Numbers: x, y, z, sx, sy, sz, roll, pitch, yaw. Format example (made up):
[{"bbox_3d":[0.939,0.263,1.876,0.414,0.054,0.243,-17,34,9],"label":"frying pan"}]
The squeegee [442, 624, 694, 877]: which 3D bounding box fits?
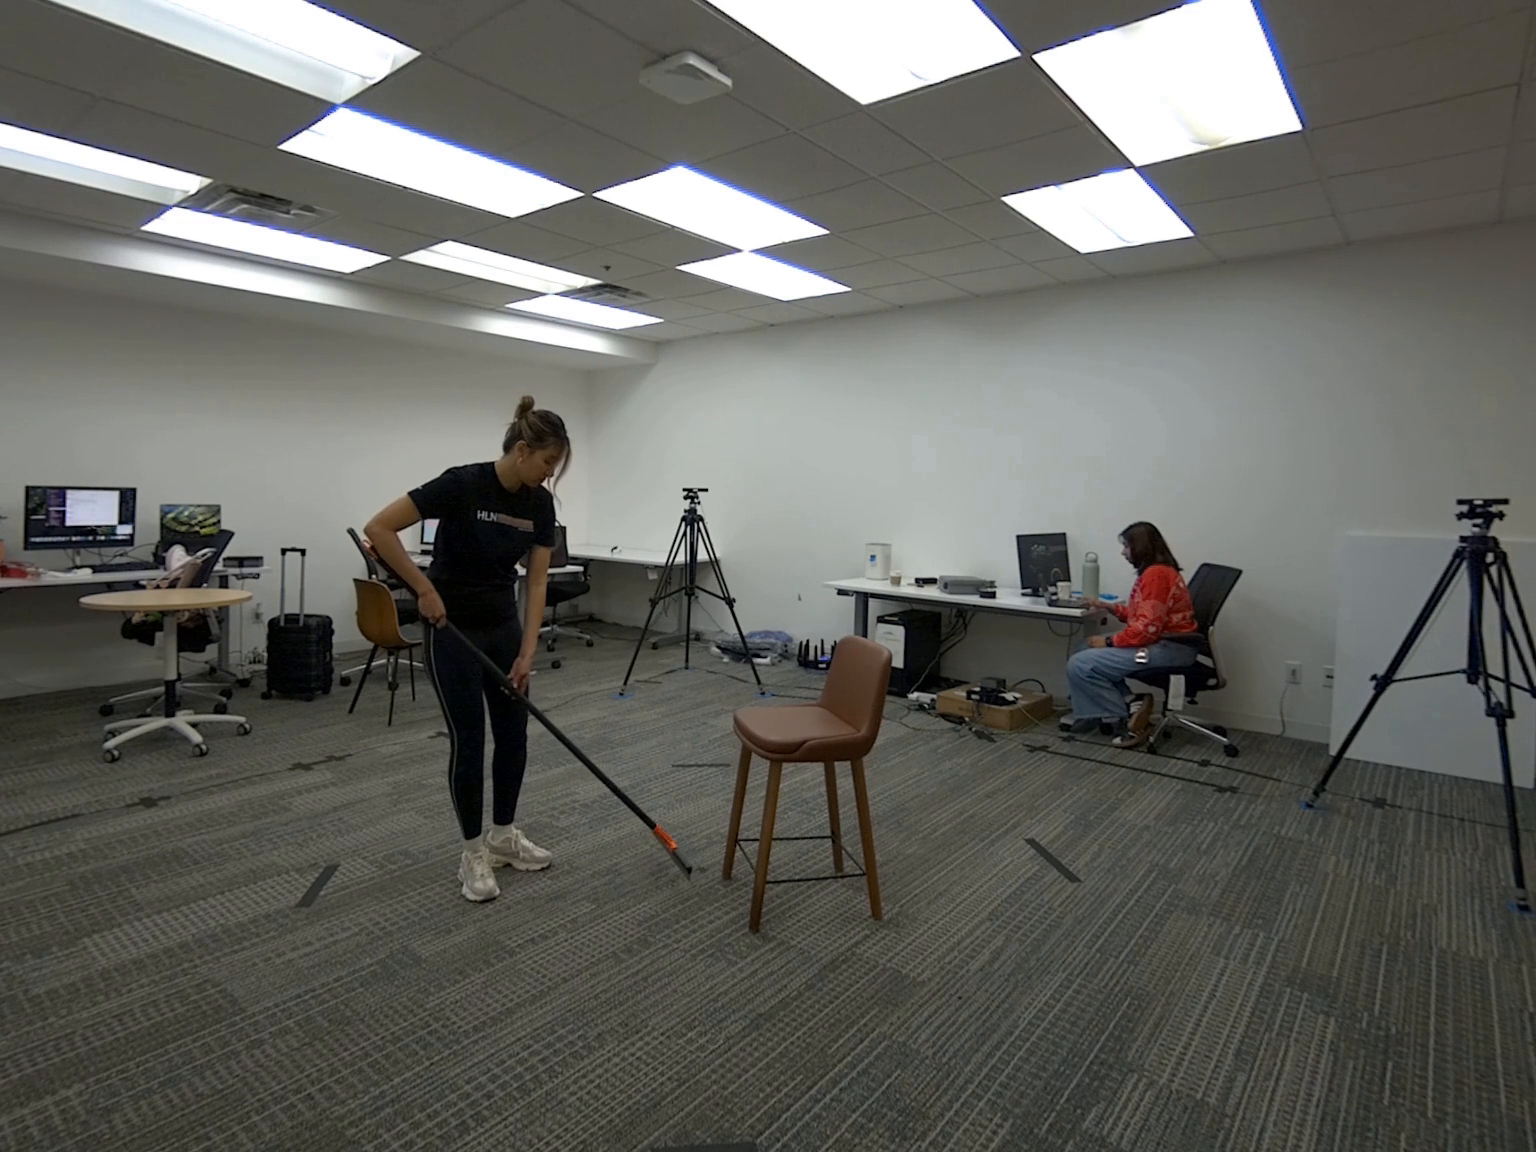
[{"bbox_3d":[-0.803,0.442,2.856,0.053,1.499,0.449,-43,19,-12],"label":"squeegee"}]
